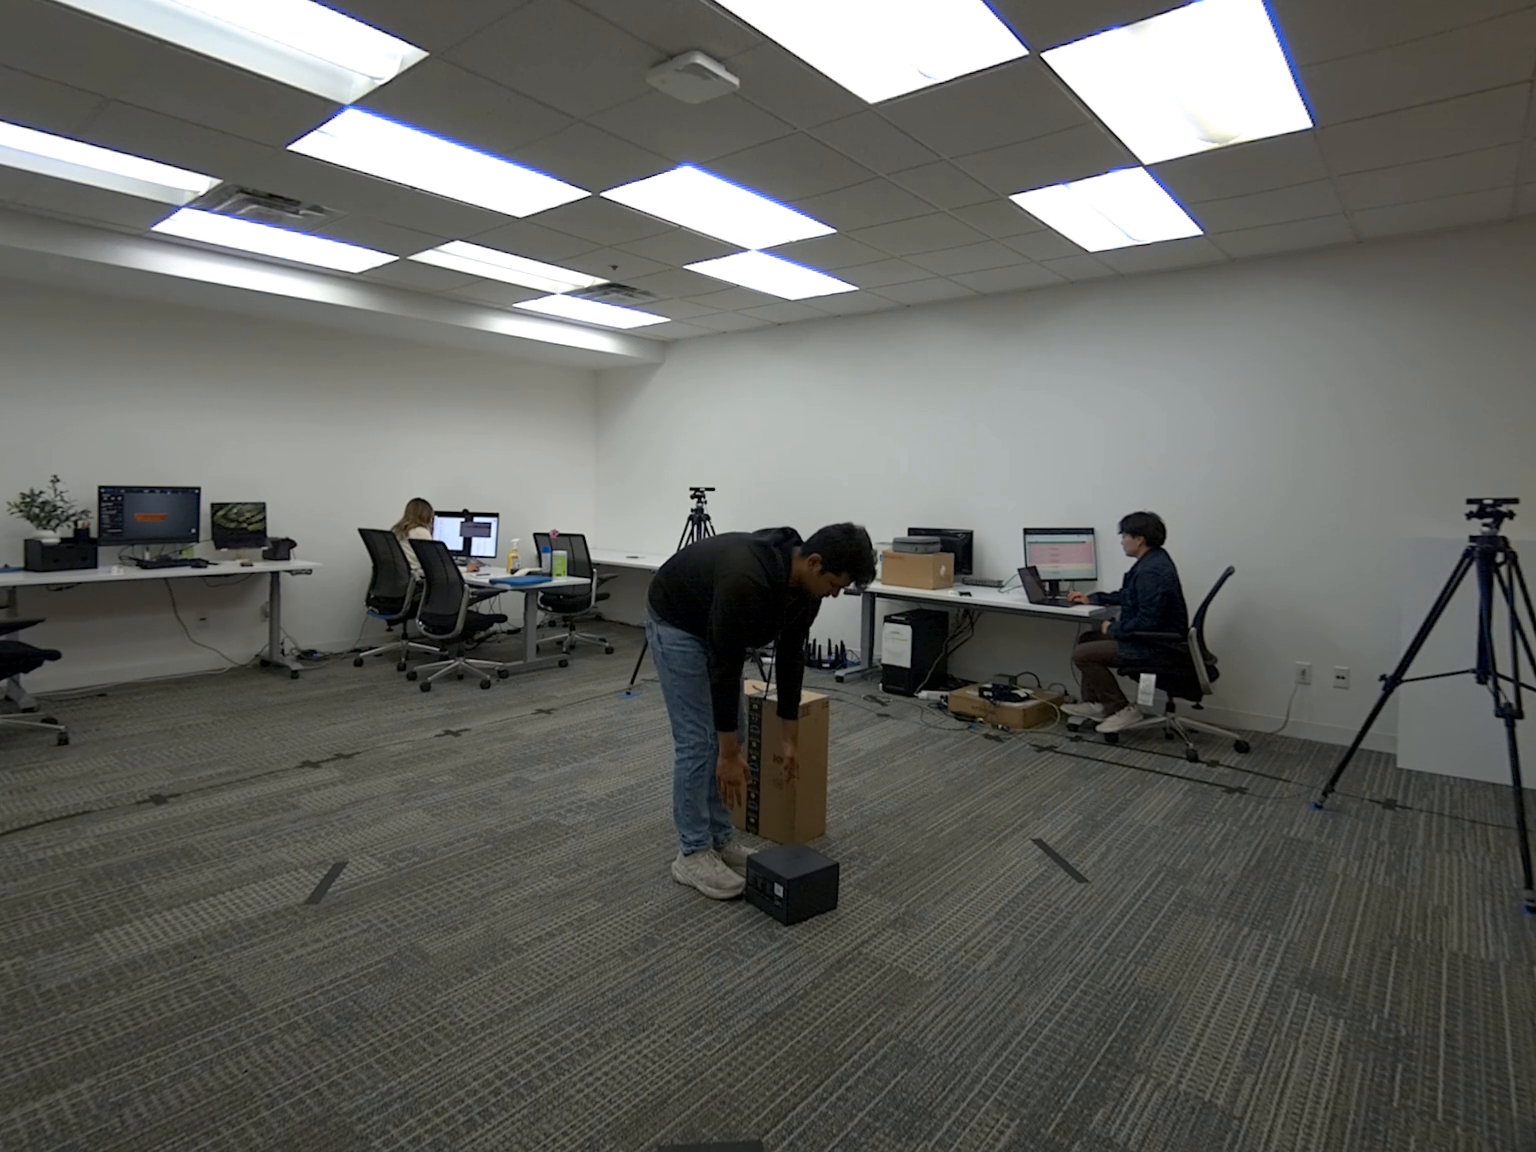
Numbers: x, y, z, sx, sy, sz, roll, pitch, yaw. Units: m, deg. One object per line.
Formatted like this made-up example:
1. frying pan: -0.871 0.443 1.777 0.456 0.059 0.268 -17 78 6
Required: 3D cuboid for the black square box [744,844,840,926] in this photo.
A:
1. black square box: 0.072 1.014 2.842 0.221 0.155 0.224 -3 6 -39
